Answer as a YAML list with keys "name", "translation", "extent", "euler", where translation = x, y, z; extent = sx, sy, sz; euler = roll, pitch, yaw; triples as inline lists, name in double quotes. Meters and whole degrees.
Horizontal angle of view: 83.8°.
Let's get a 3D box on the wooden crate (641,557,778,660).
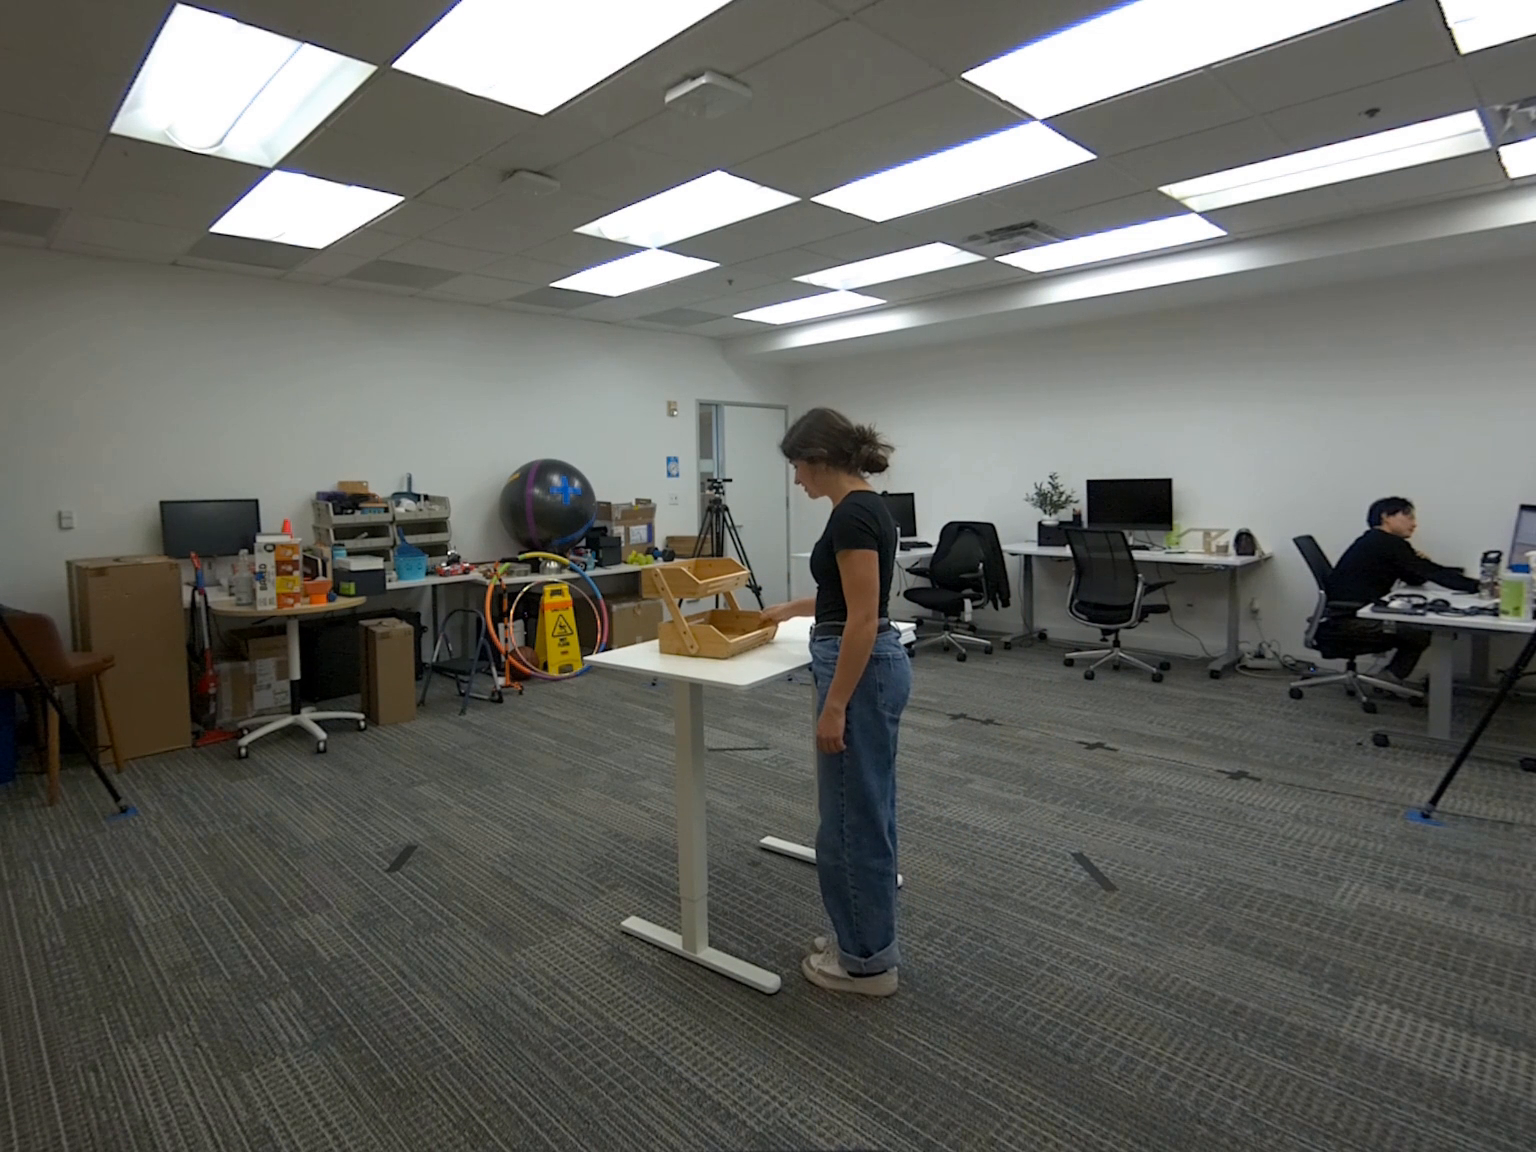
- name: "wooden crate"
  translation: [-0.168, 0.086, 2.636]
  extent: [0.309, 0.272, 0.318]
  euler: [-1, 5, 29]
